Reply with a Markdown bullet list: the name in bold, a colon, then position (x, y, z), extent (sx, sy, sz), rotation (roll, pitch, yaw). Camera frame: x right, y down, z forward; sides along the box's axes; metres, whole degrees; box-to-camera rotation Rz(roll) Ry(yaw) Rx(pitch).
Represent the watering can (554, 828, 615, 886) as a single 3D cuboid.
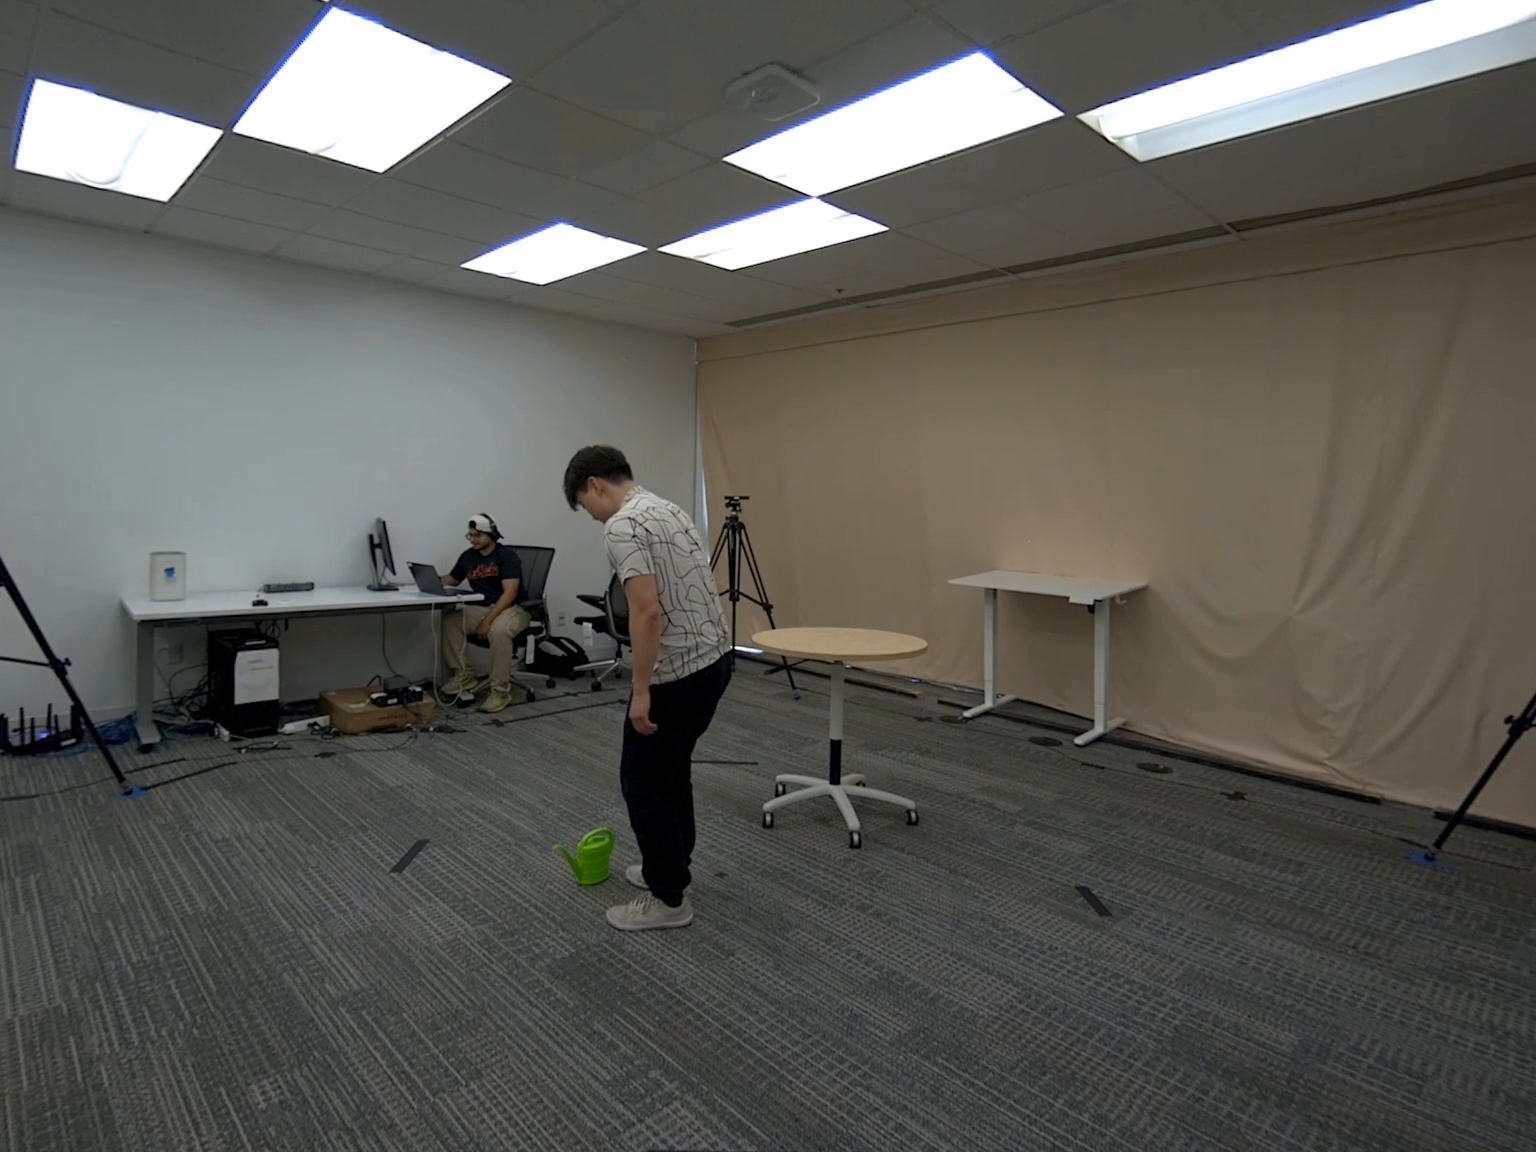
- **watering can**: position (-0.663, 1.010, 3.008), extent (0.272, 0.176, 0.100), rotation (-4, 4, -43)
